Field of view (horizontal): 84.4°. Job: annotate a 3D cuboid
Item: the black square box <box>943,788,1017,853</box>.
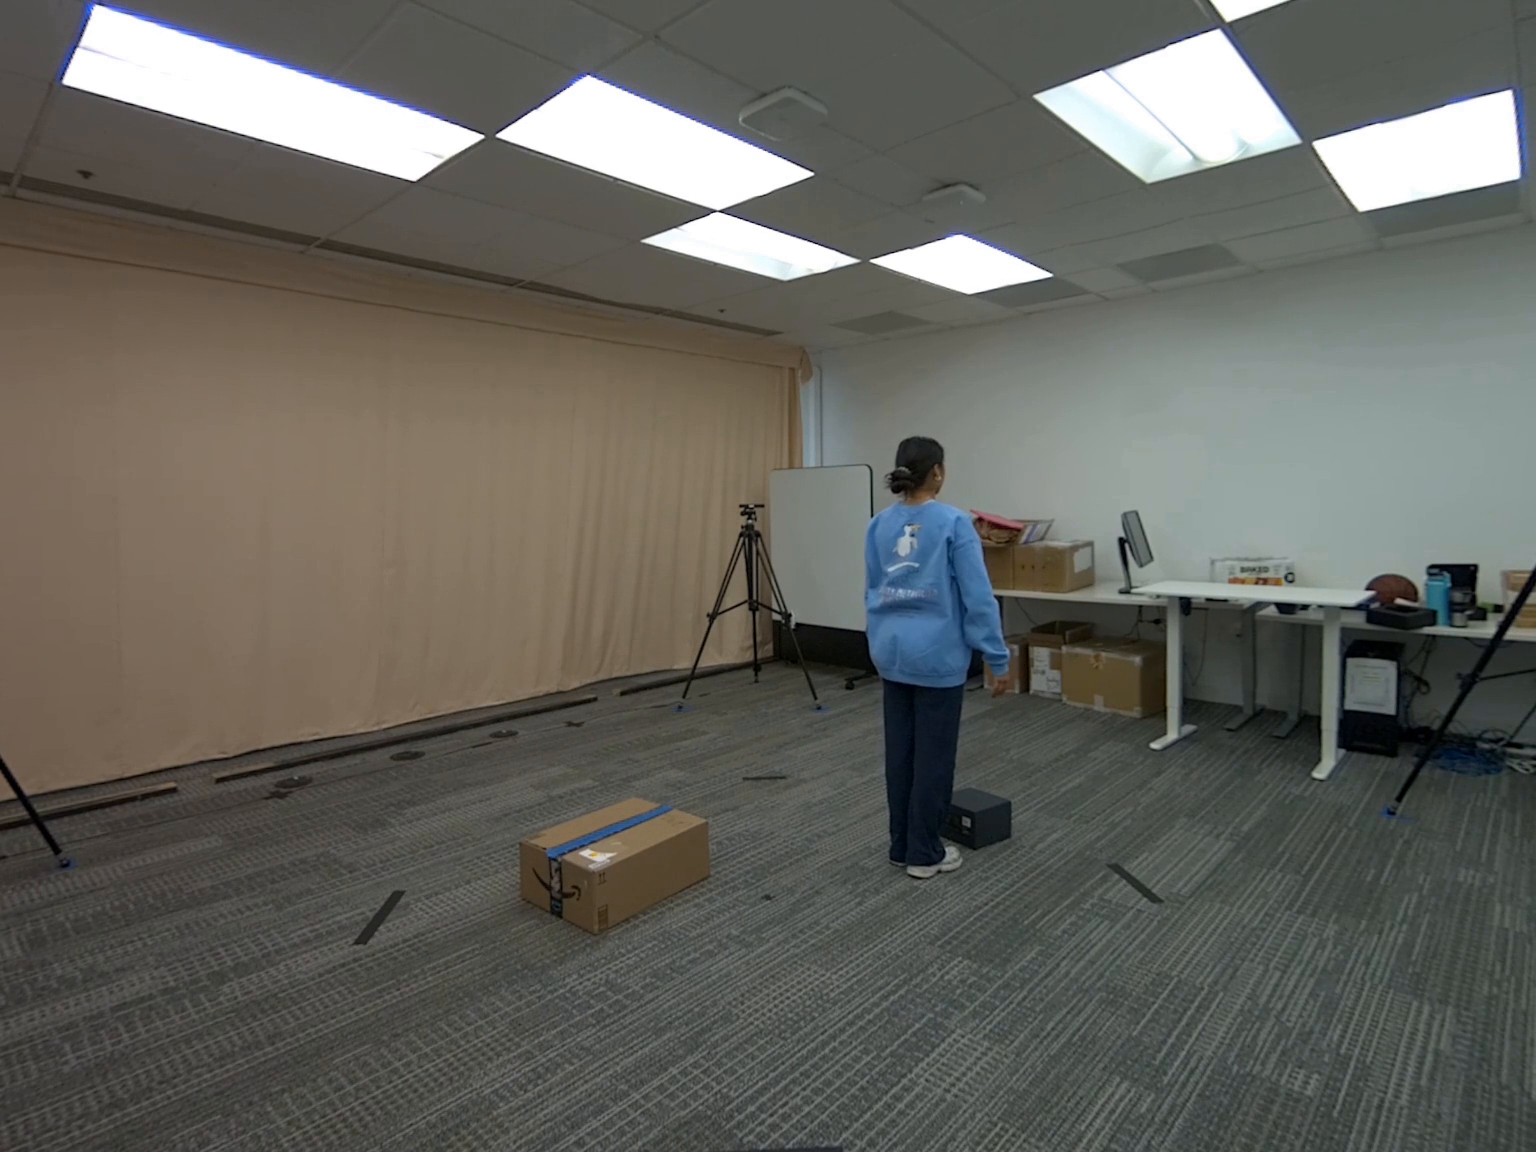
[{"bbox_3d":[0.858,1.000,3.493,0.221,0.155,0.224,-4,4,-36],"label":"black square box"}]
